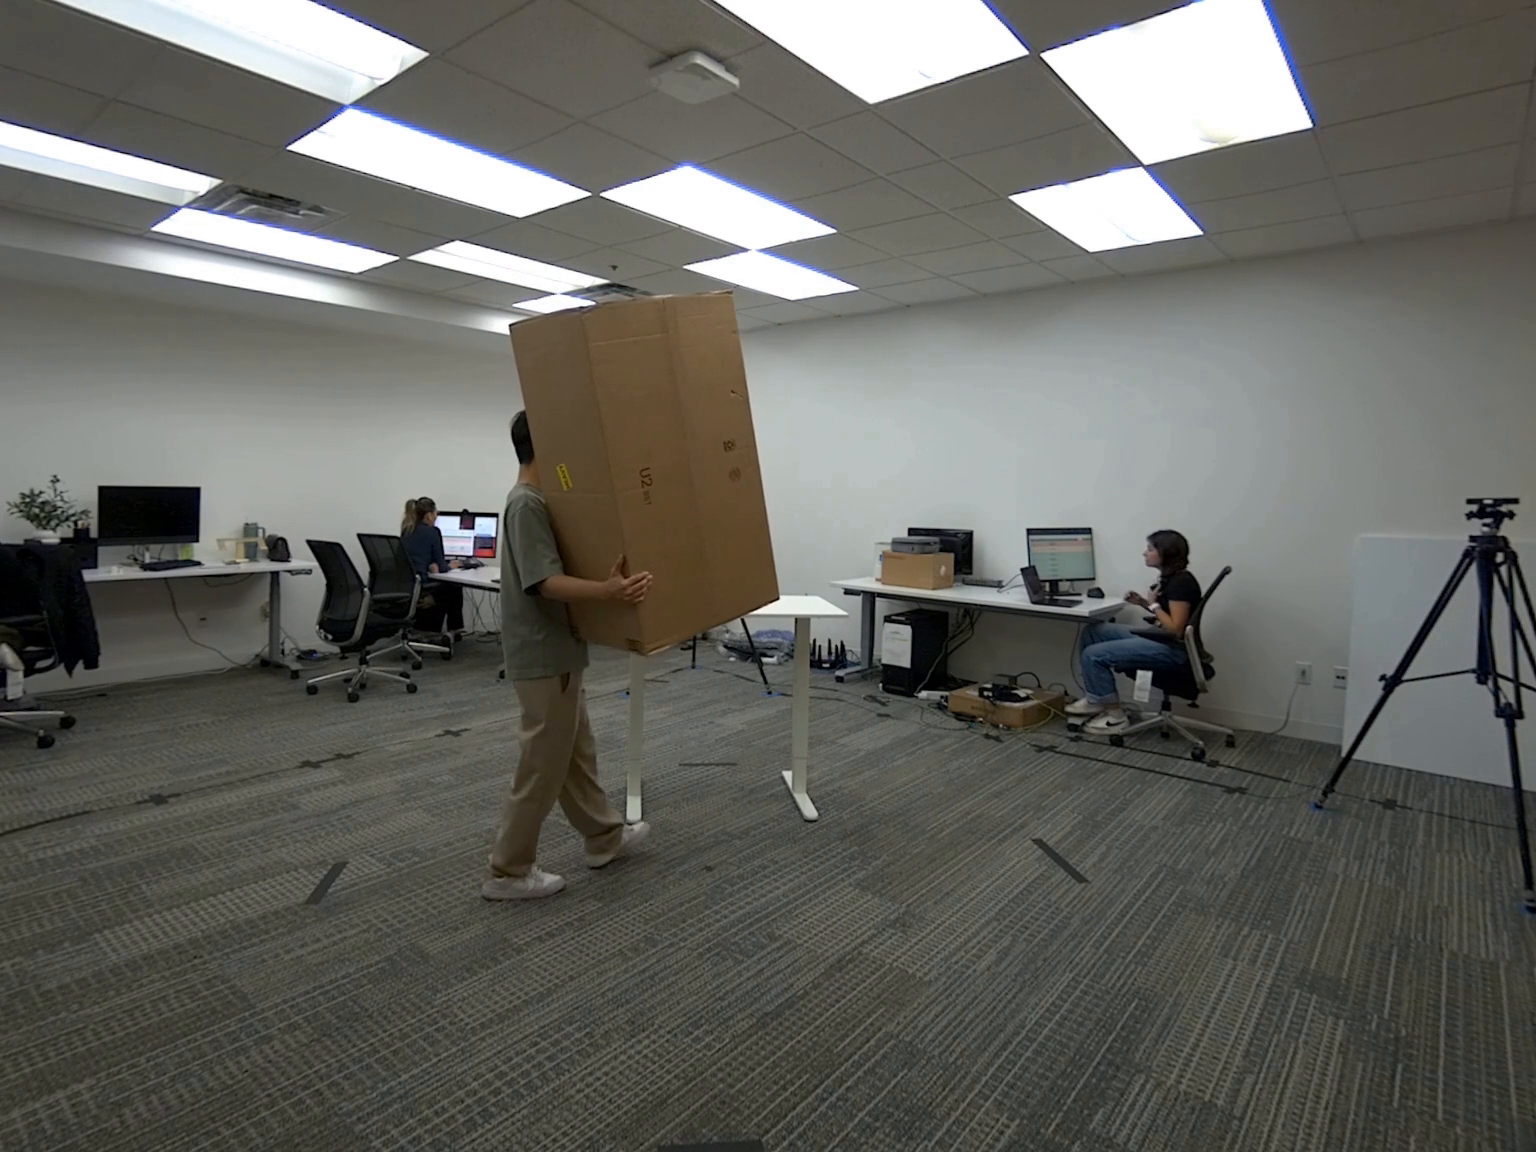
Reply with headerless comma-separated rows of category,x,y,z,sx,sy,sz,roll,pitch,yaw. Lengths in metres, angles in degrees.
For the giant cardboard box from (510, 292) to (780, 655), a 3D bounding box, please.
giant cardboard box,-0.388,-0.346,2.735,0.566,1.012,0.441,-20,17,-40
